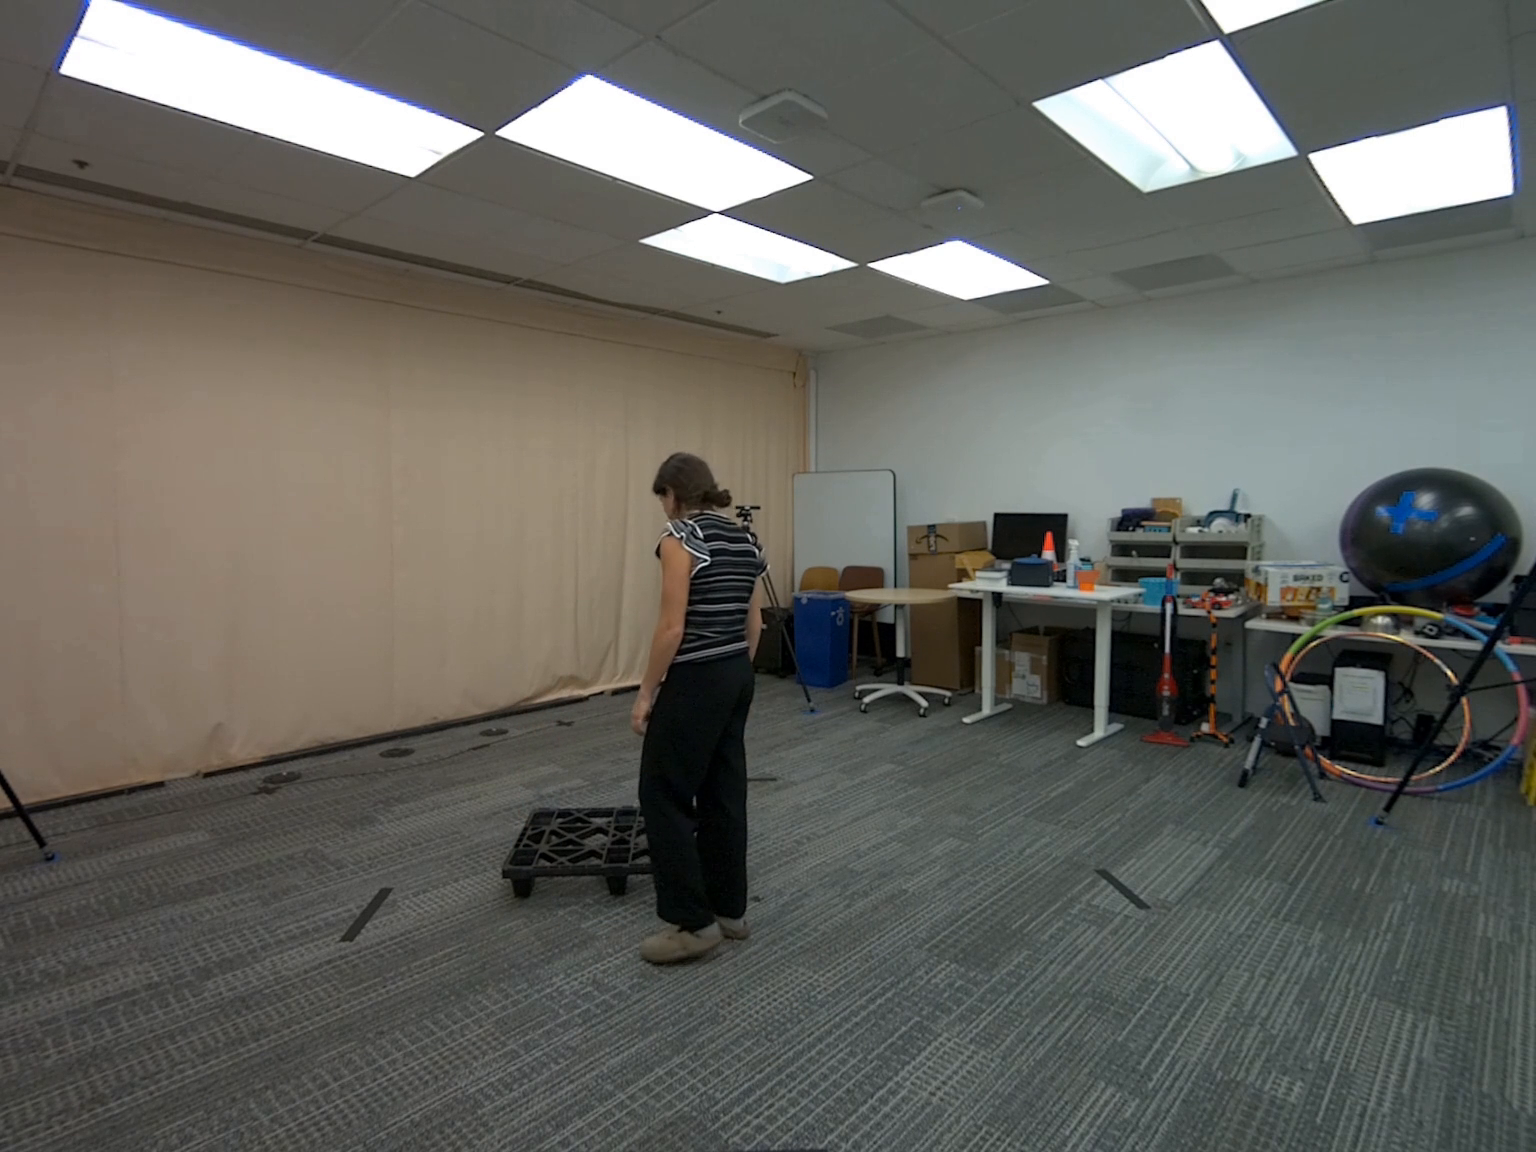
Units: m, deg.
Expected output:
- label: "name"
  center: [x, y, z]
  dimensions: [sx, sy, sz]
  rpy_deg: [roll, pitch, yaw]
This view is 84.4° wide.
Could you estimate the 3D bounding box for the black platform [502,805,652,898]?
- label: "black platform"
  center: [-0.565, 1.059, 3.248]
  dimensions: [0.804, 0.143, 0.608]
  rpy_deg: [-1, 4, -3]
